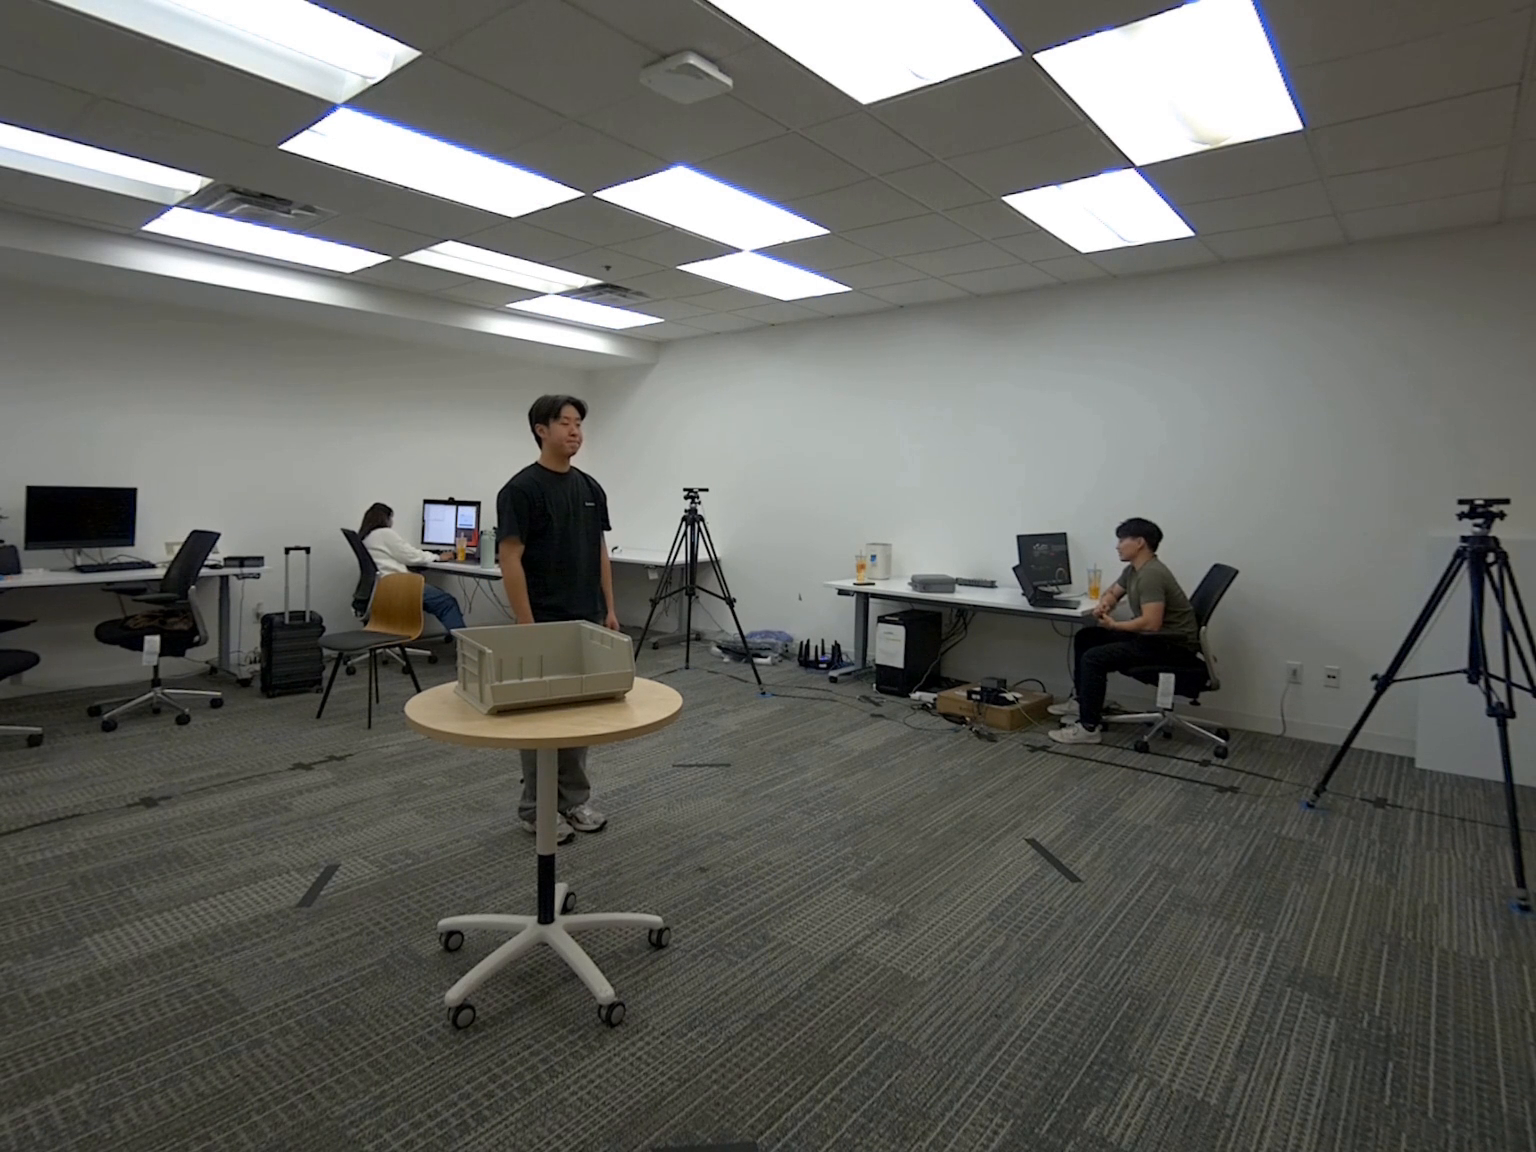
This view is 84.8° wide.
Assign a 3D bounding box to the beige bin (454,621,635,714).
[{"bbox_3d":[-0.661,0.255,2.448,0.410,0.188,0.389,-2,5,-34],"label":"beige bin"}]
